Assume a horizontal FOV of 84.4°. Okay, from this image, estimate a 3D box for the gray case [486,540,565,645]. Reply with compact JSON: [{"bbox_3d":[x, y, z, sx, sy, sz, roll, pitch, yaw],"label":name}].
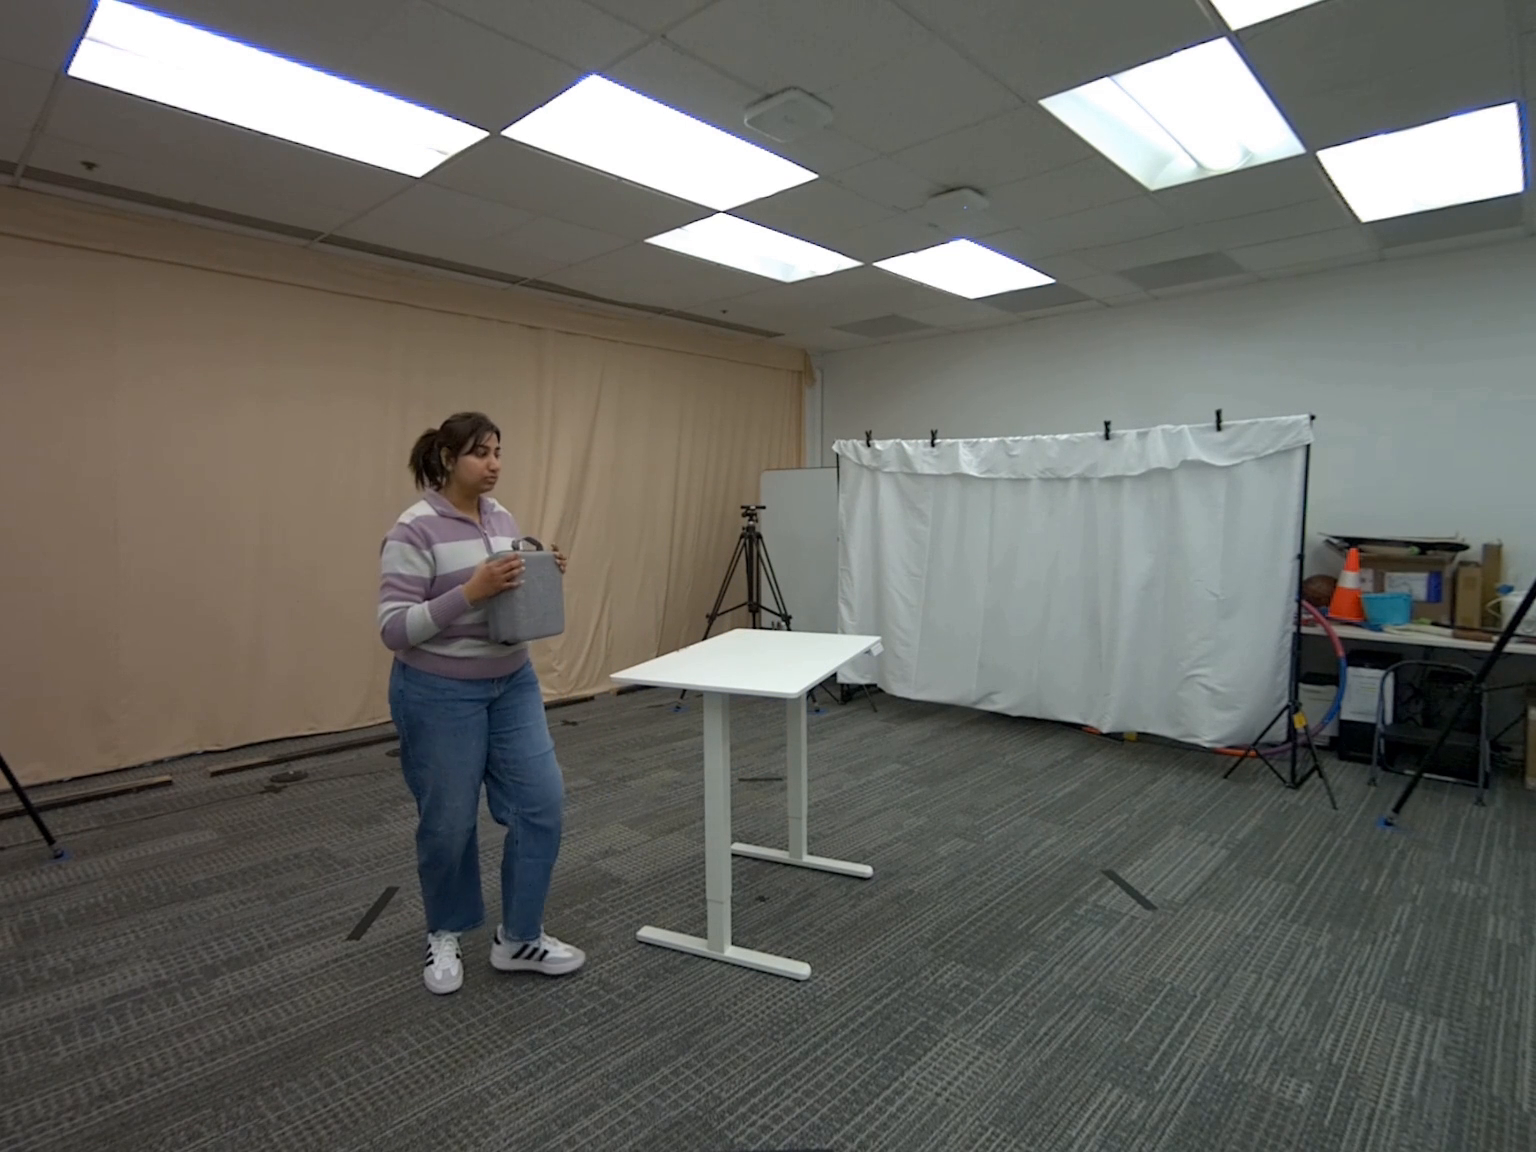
[{"bbox_3d":[-0.677,0.056,2.376,0.106,0.261,0.251,-3,-1,20],"label":"gray case"}]
